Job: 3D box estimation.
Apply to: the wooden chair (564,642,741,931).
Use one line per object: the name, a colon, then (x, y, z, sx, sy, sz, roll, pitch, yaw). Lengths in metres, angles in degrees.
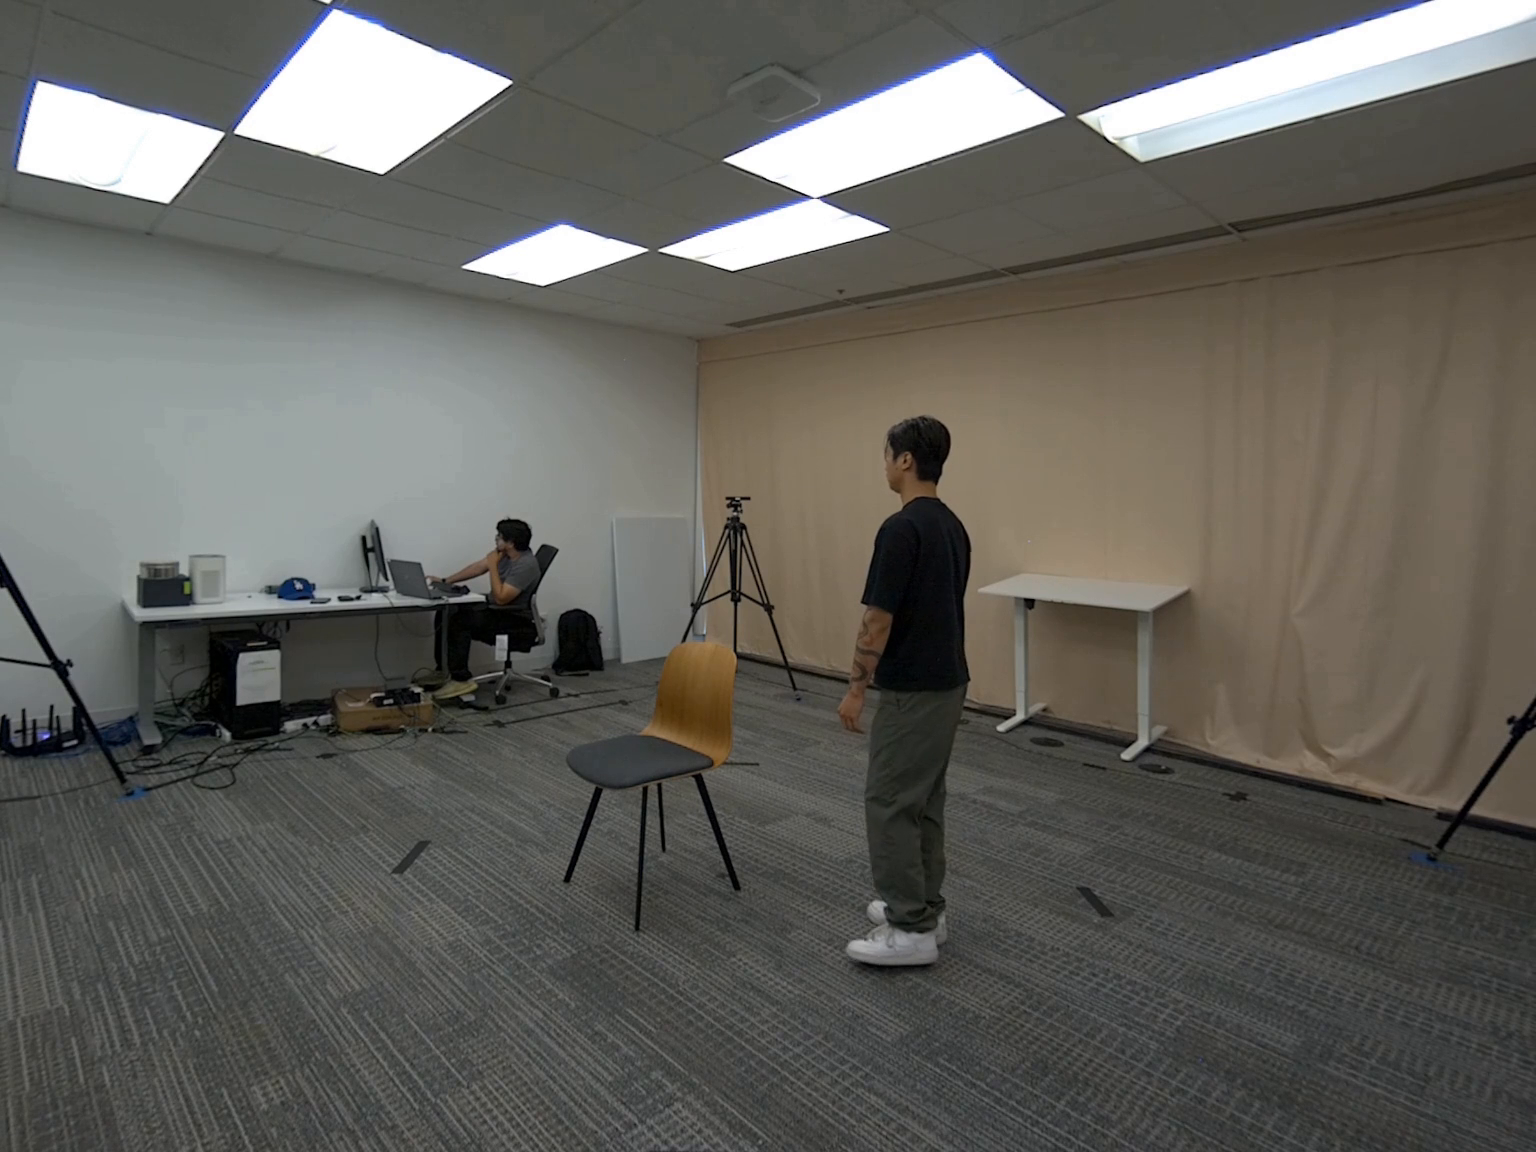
wooden chair: (-0.419, 0.689, 2.971, 0.510, 0.877, 0.490, 3, 1, -43)
